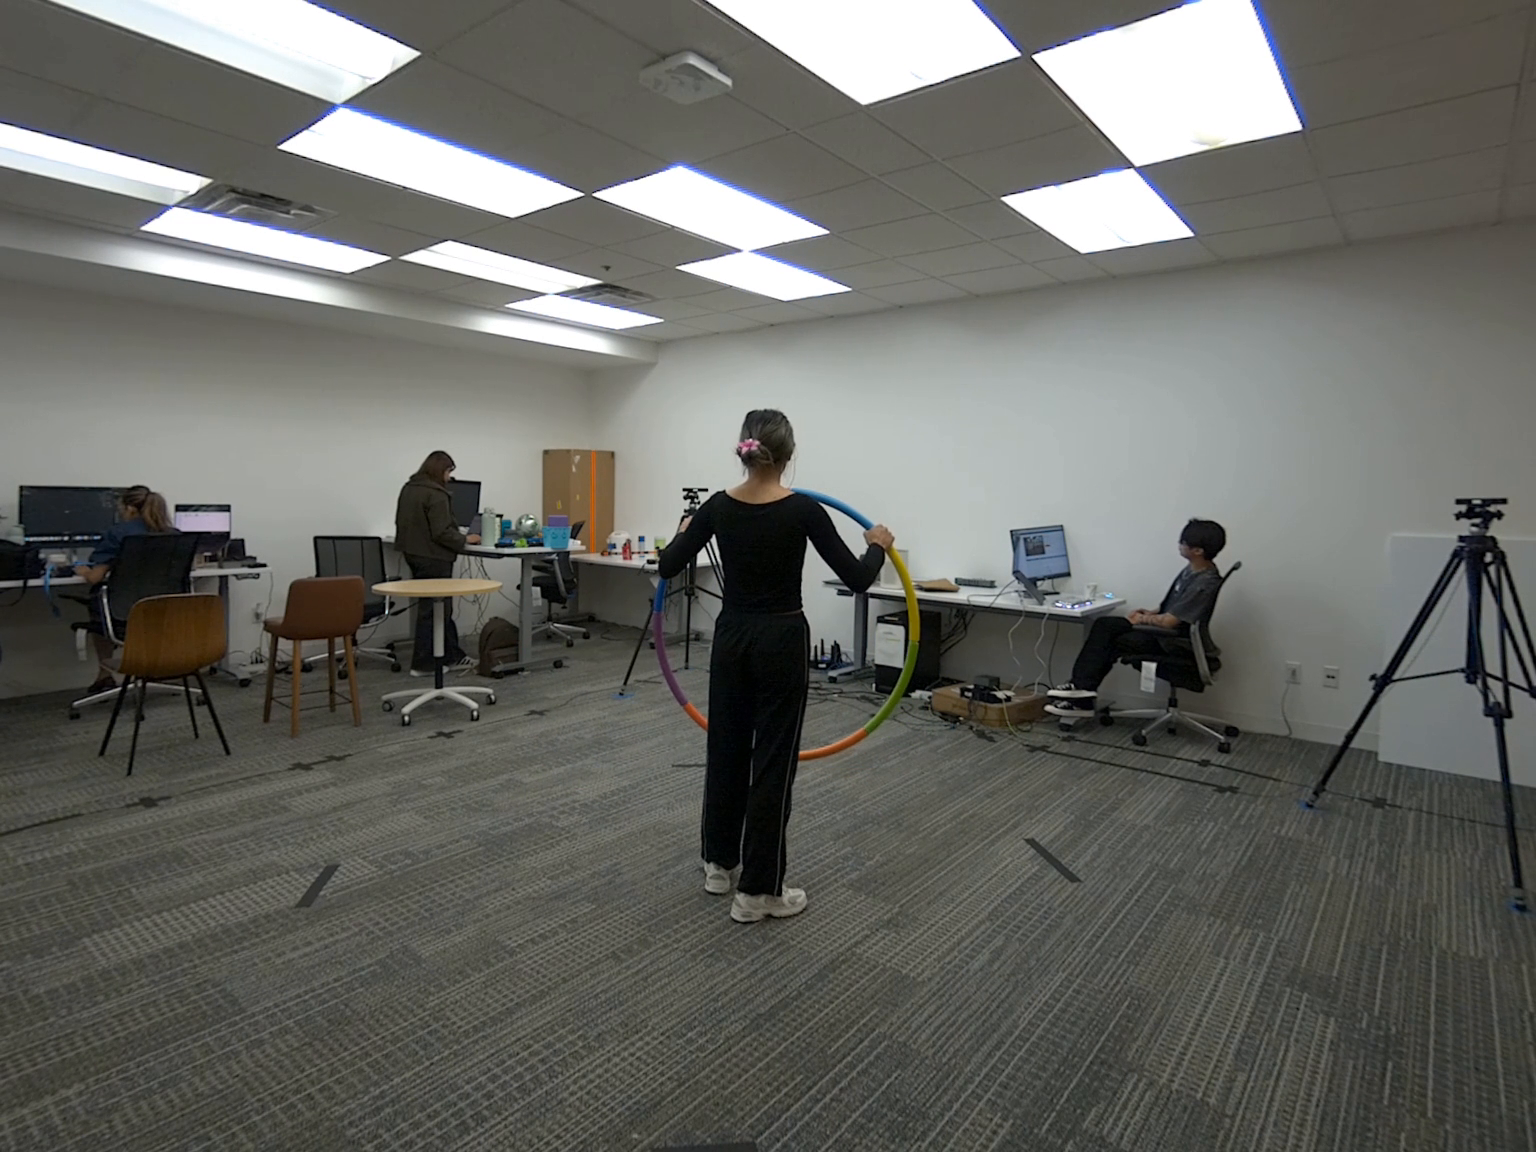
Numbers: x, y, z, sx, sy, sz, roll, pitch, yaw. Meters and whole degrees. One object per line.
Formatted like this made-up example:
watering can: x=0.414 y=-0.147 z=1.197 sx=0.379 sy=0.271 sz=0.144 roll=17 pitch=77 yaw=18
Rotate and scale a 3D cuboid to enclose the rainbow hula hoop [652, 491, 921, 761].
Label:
rainbow hula hoop: x=0.033 y=0.176 z=3.074 sx=0.994 sy=0.974 sz=0.035 roll=2 pitch=5 yaw=14
